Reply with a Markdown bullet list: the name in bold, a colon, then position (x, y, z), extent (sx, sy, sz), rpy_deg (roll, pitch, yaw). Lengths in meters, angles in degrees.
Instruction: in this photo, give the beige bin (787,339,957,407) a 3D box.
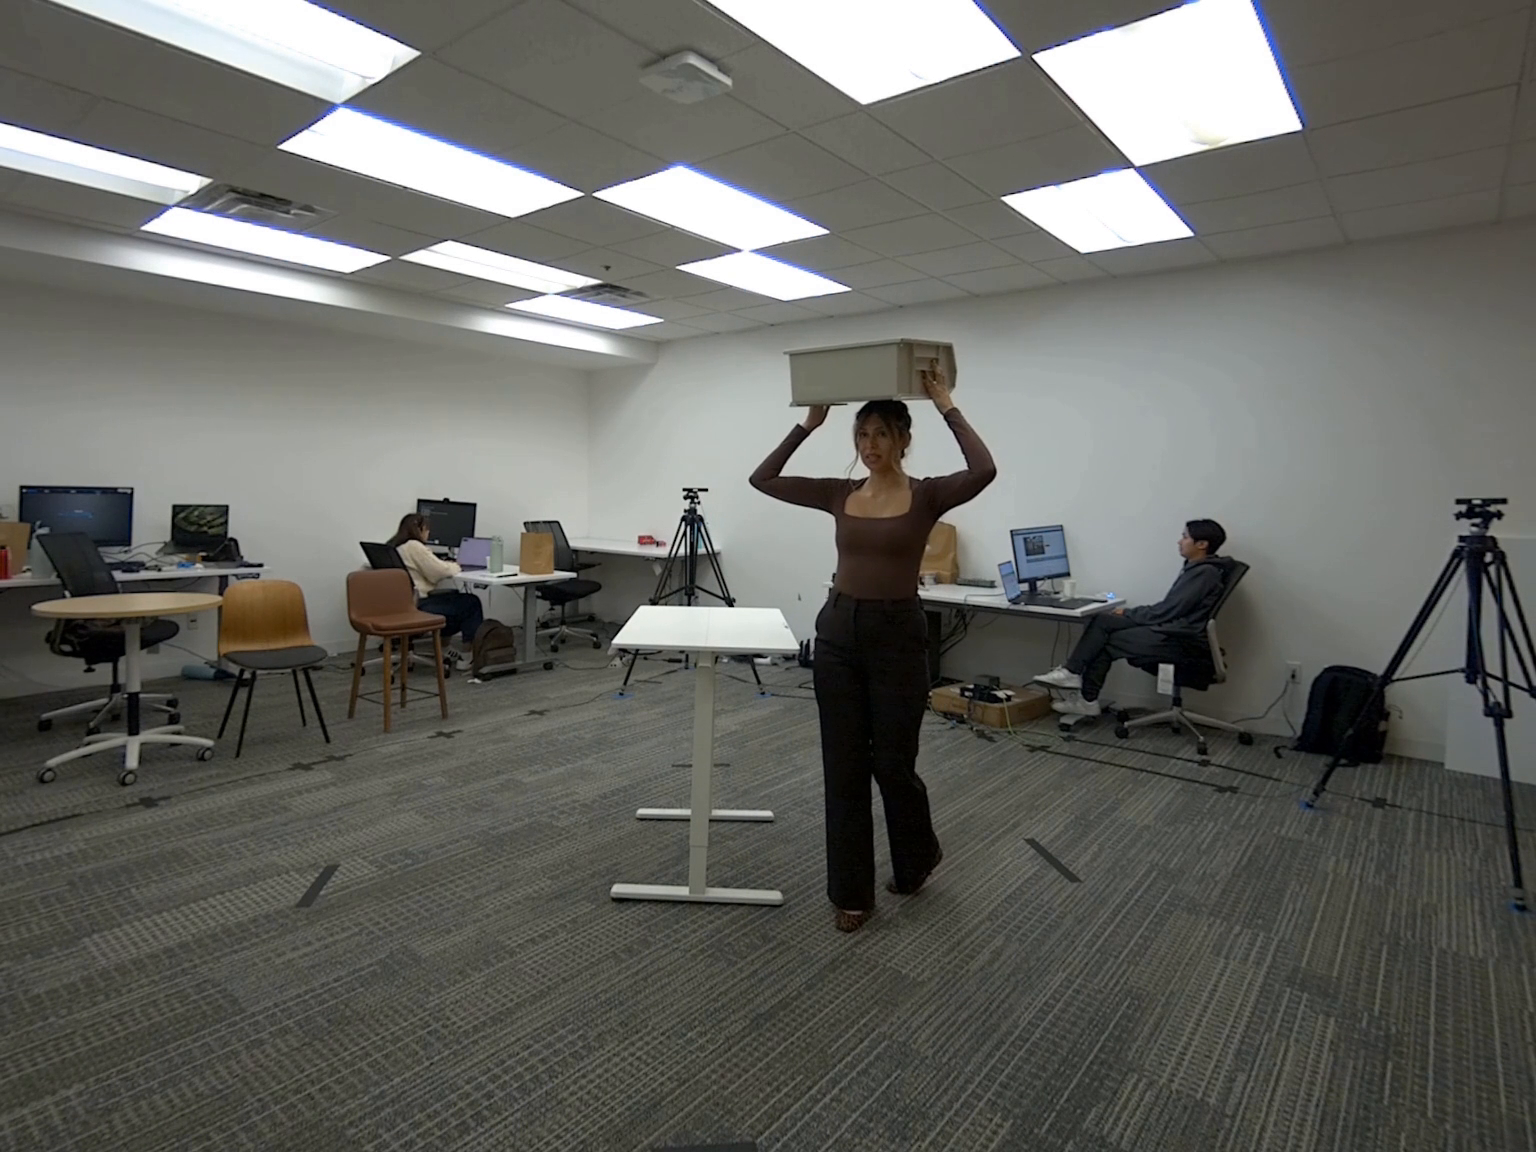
- **beige bin**: position (0.325, -0.650, 2.740), extent (0.437, 0.187, 0.368), rpy_deg (6, 14, 38)
